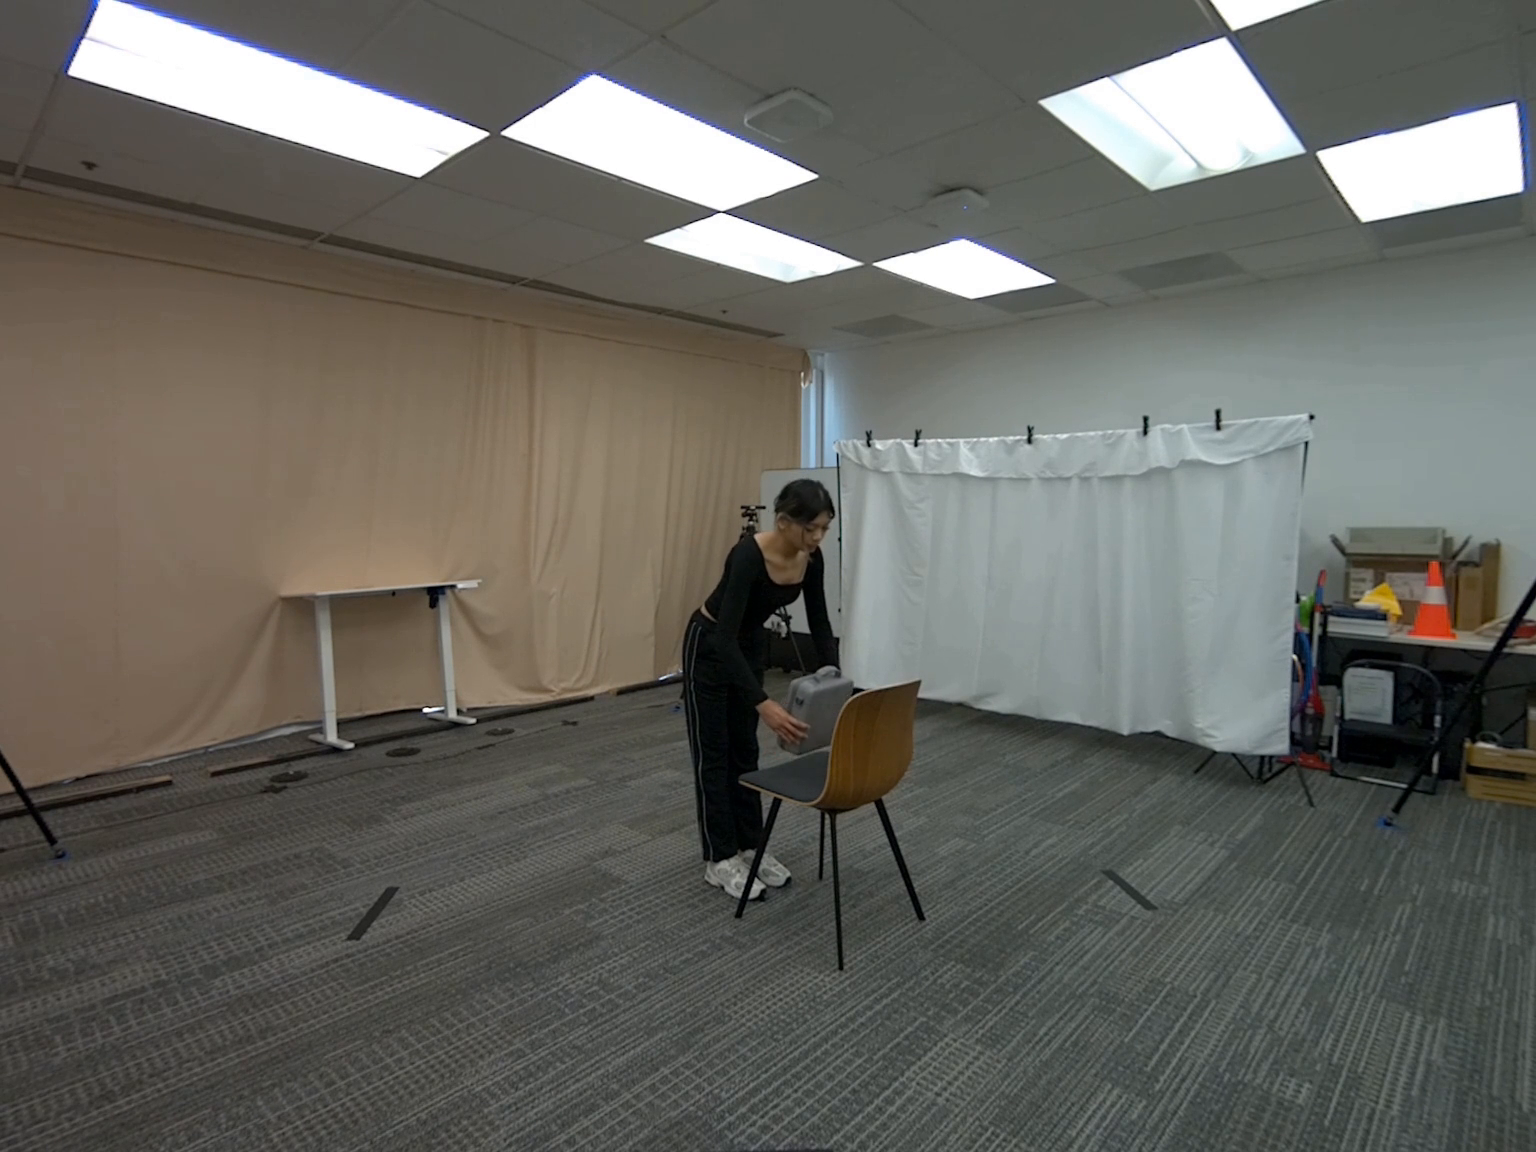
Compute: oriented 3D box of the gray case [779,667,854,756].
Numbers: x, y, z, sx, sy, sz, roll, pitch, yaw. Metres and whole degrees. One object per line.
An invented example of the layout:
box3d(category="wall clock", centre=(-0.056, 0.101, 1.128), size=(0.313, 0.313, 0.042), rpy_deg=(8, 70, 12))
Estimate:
box3d(category="gray case", centre=(0.167, 0.450, 2.834), size=(0.108, 0.259, 0.249), rpy_deg=(23, 19, 40))
